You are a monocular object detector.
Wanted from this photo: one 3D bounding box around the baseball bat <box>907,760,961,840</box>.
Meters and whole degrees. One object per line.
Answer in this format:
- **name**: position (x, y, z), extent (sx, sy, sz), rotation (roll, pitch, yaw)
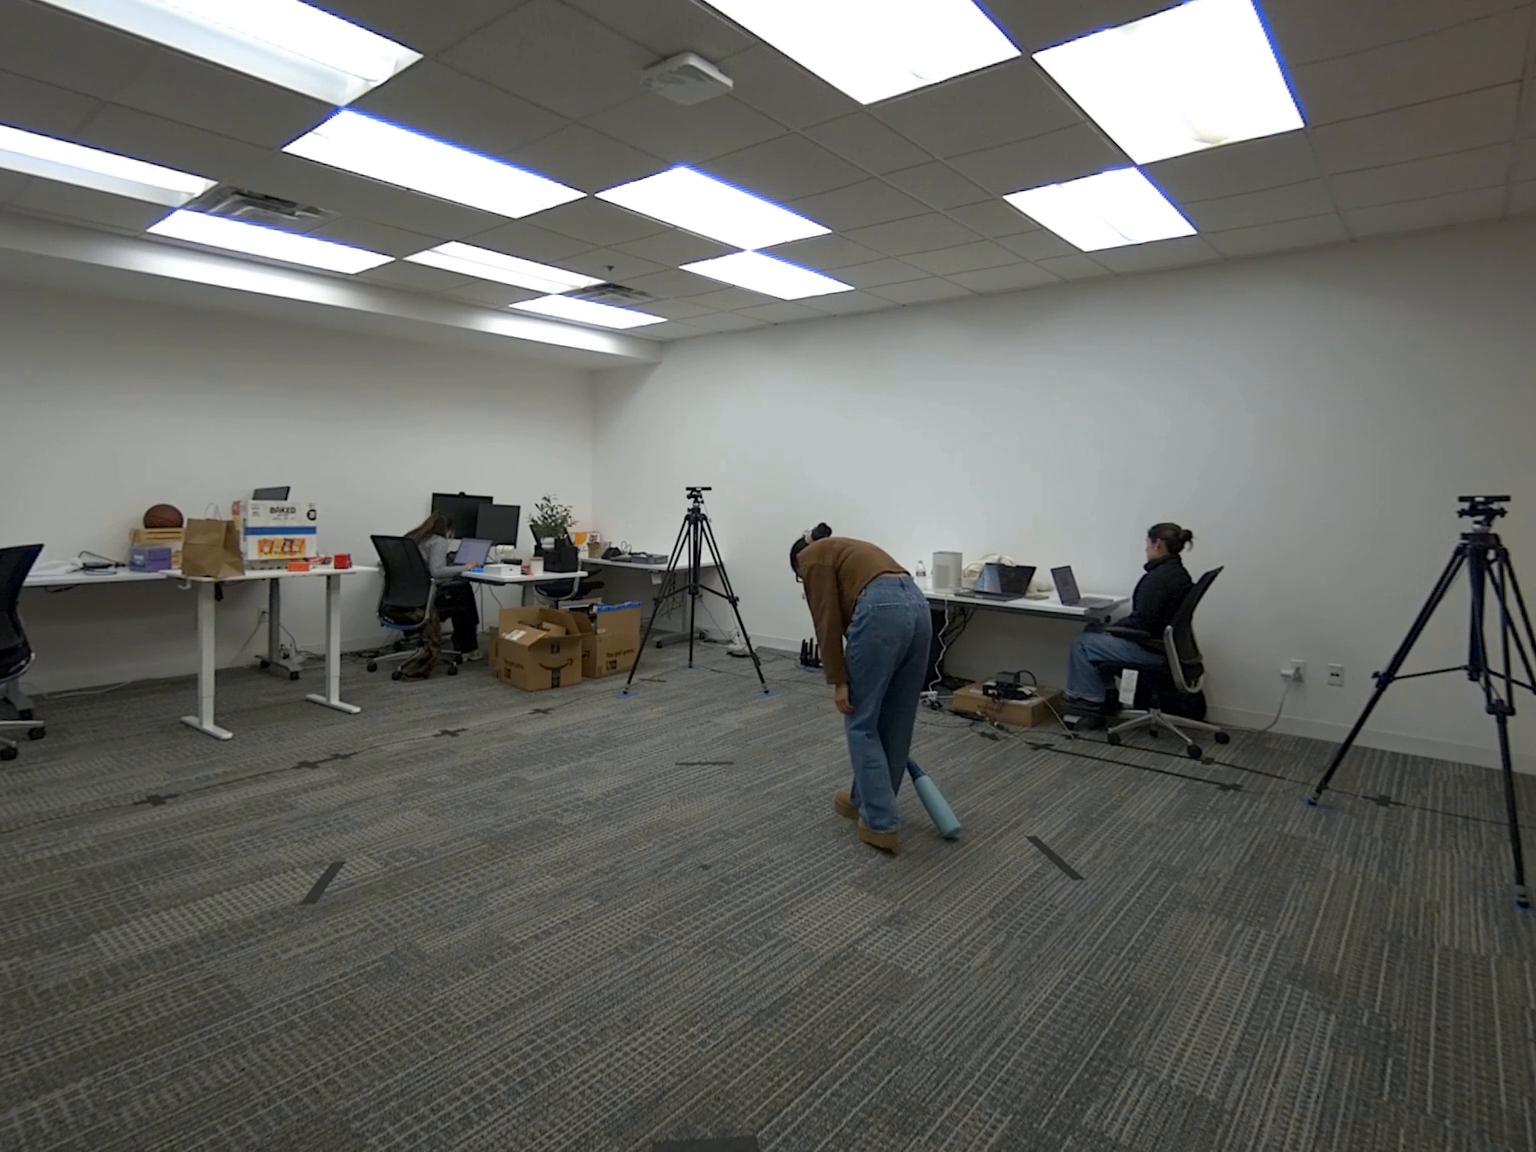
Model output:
- **baseball bat**: position (0.625, 0.842, 3.569), extent (0.086, 0.088, 0.565), rotation (-2, 45, -34)
